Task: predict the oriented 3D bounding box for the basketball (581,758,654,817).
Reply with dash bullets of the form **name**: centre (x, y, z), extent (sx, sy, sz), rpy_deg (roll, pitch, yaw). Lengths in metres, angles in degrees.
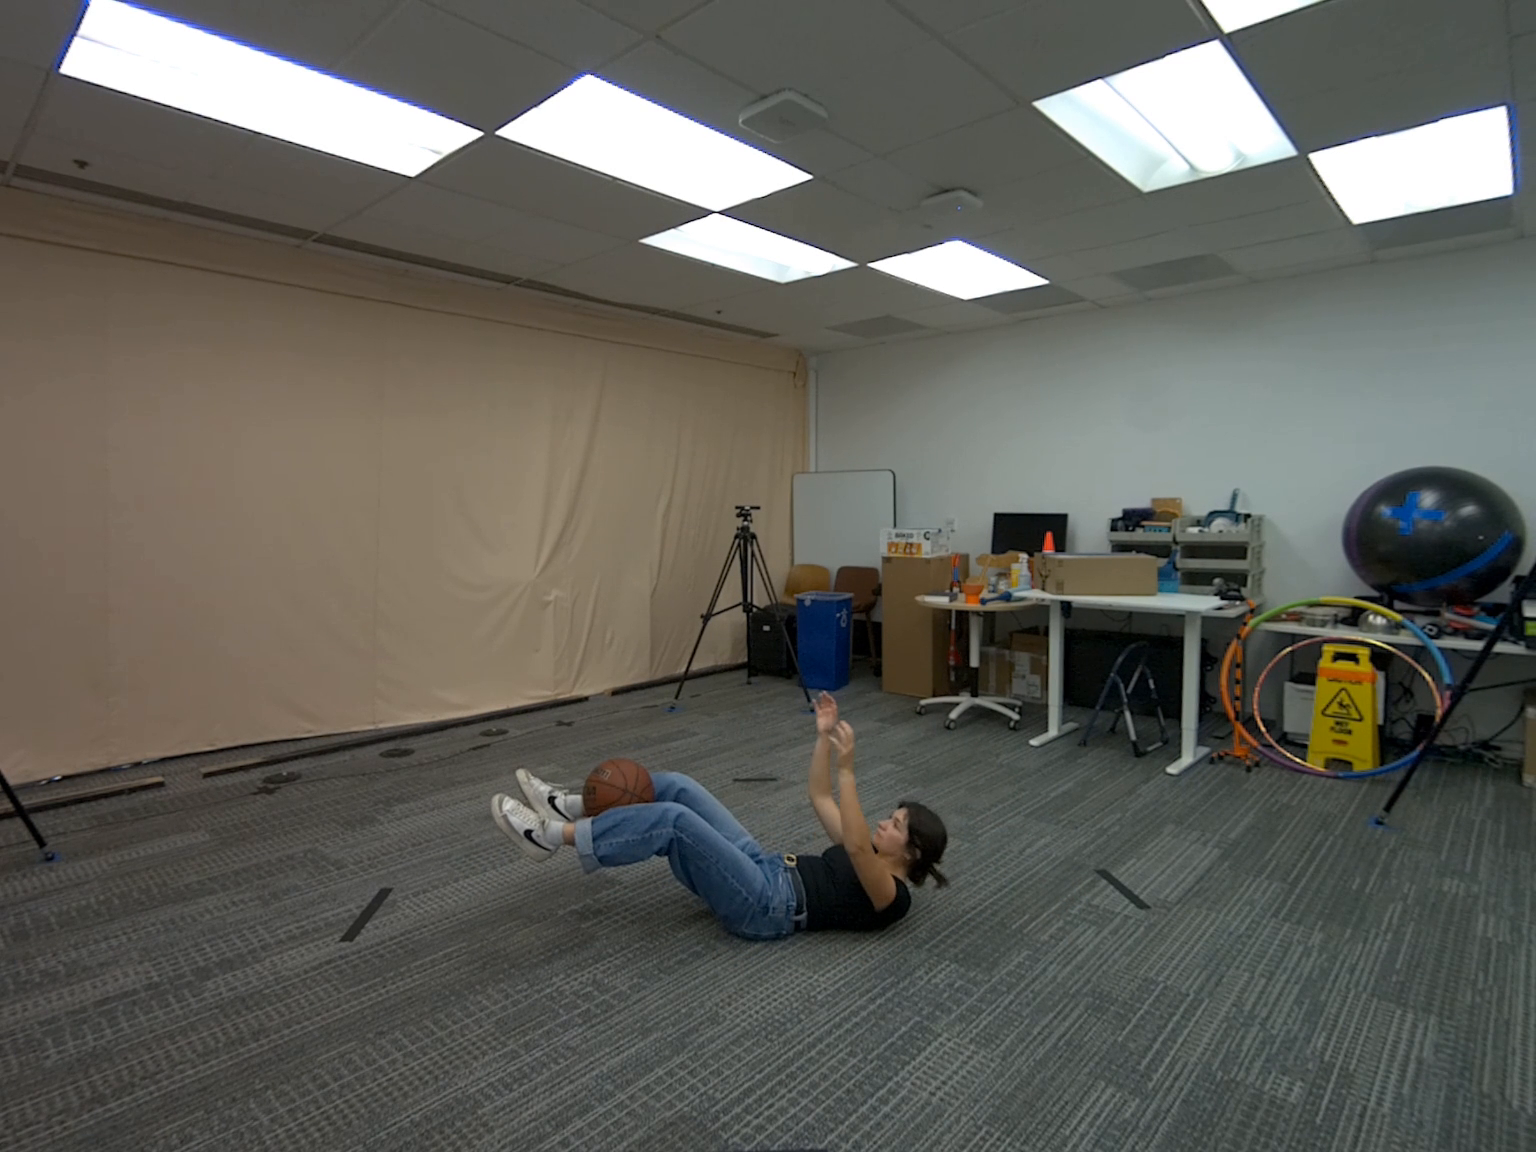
- **basketball**: centre (-0.499, 0.731, 2.801), extent (0.236, 0.235, 0.237), rpy_deg (0, 4, -2)
